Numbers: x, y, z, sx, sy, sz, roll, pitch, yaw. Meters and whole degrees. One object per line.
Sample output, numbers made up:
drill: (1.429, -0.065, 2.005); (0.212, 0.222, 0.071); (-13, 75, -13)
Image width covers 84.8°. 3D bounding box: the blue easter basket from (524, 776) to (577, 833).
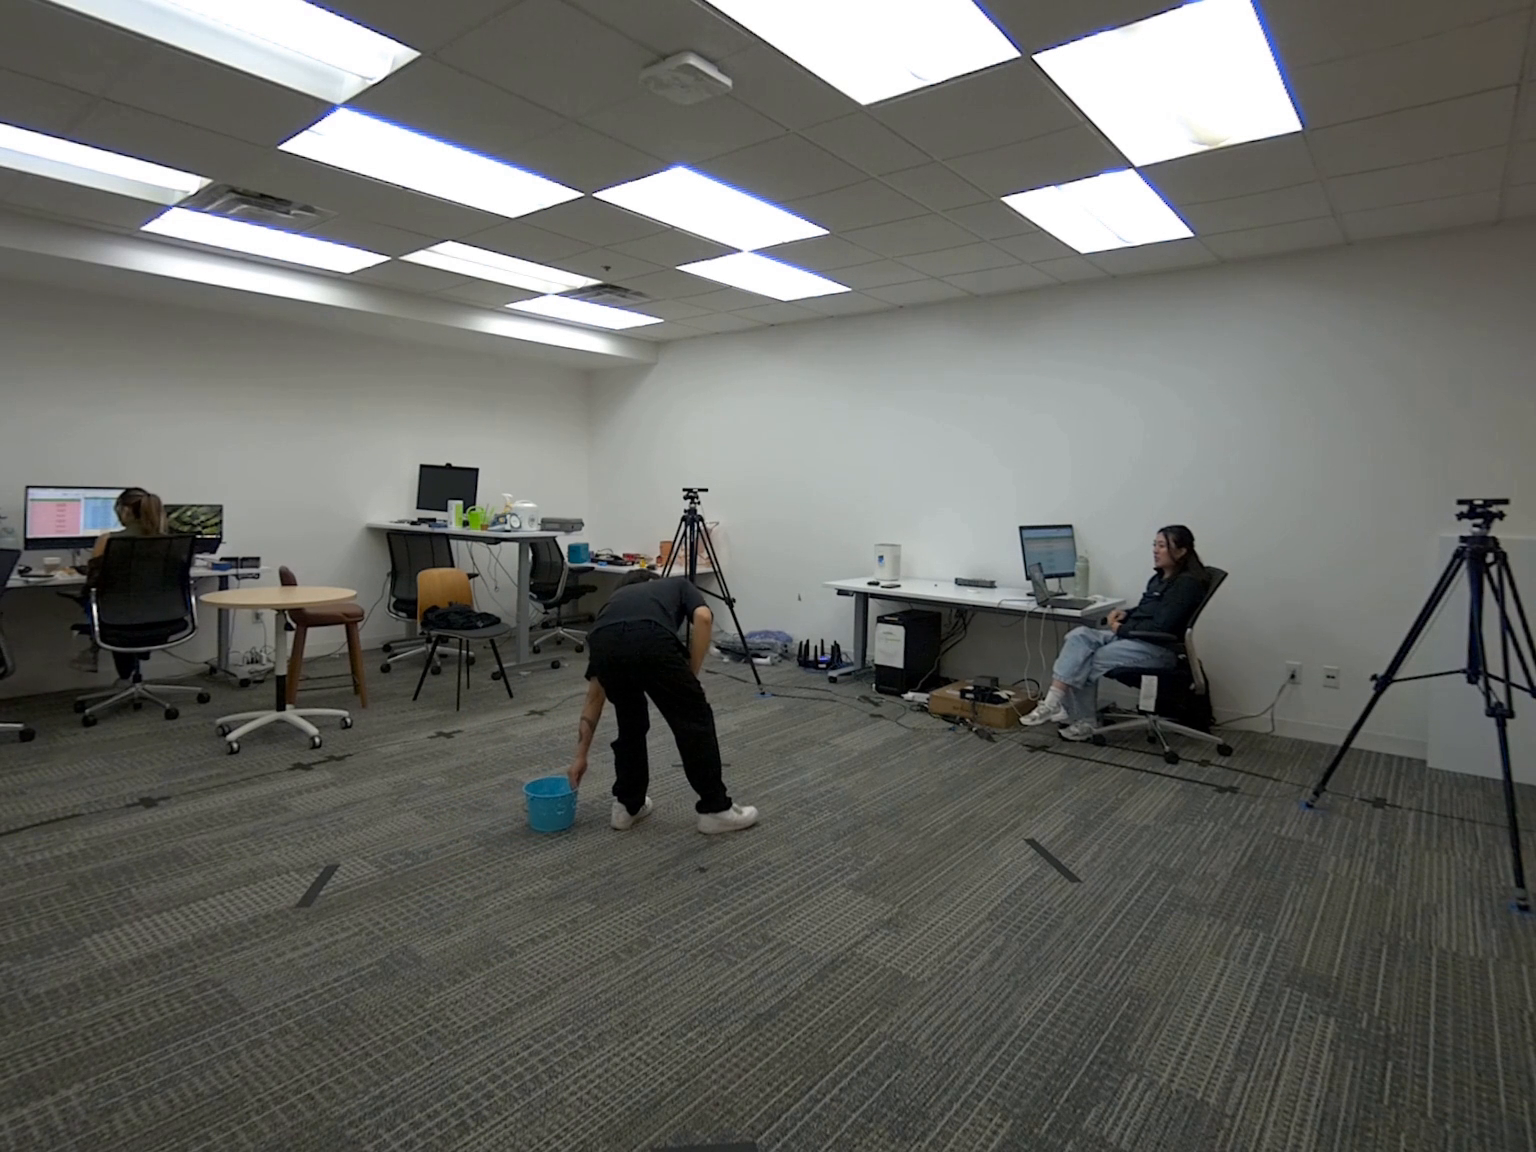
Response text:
blue easter basket: (-0.909, 0.942, 3.519); (0.243, 0.155, 0.245); (0, 6, -2)
